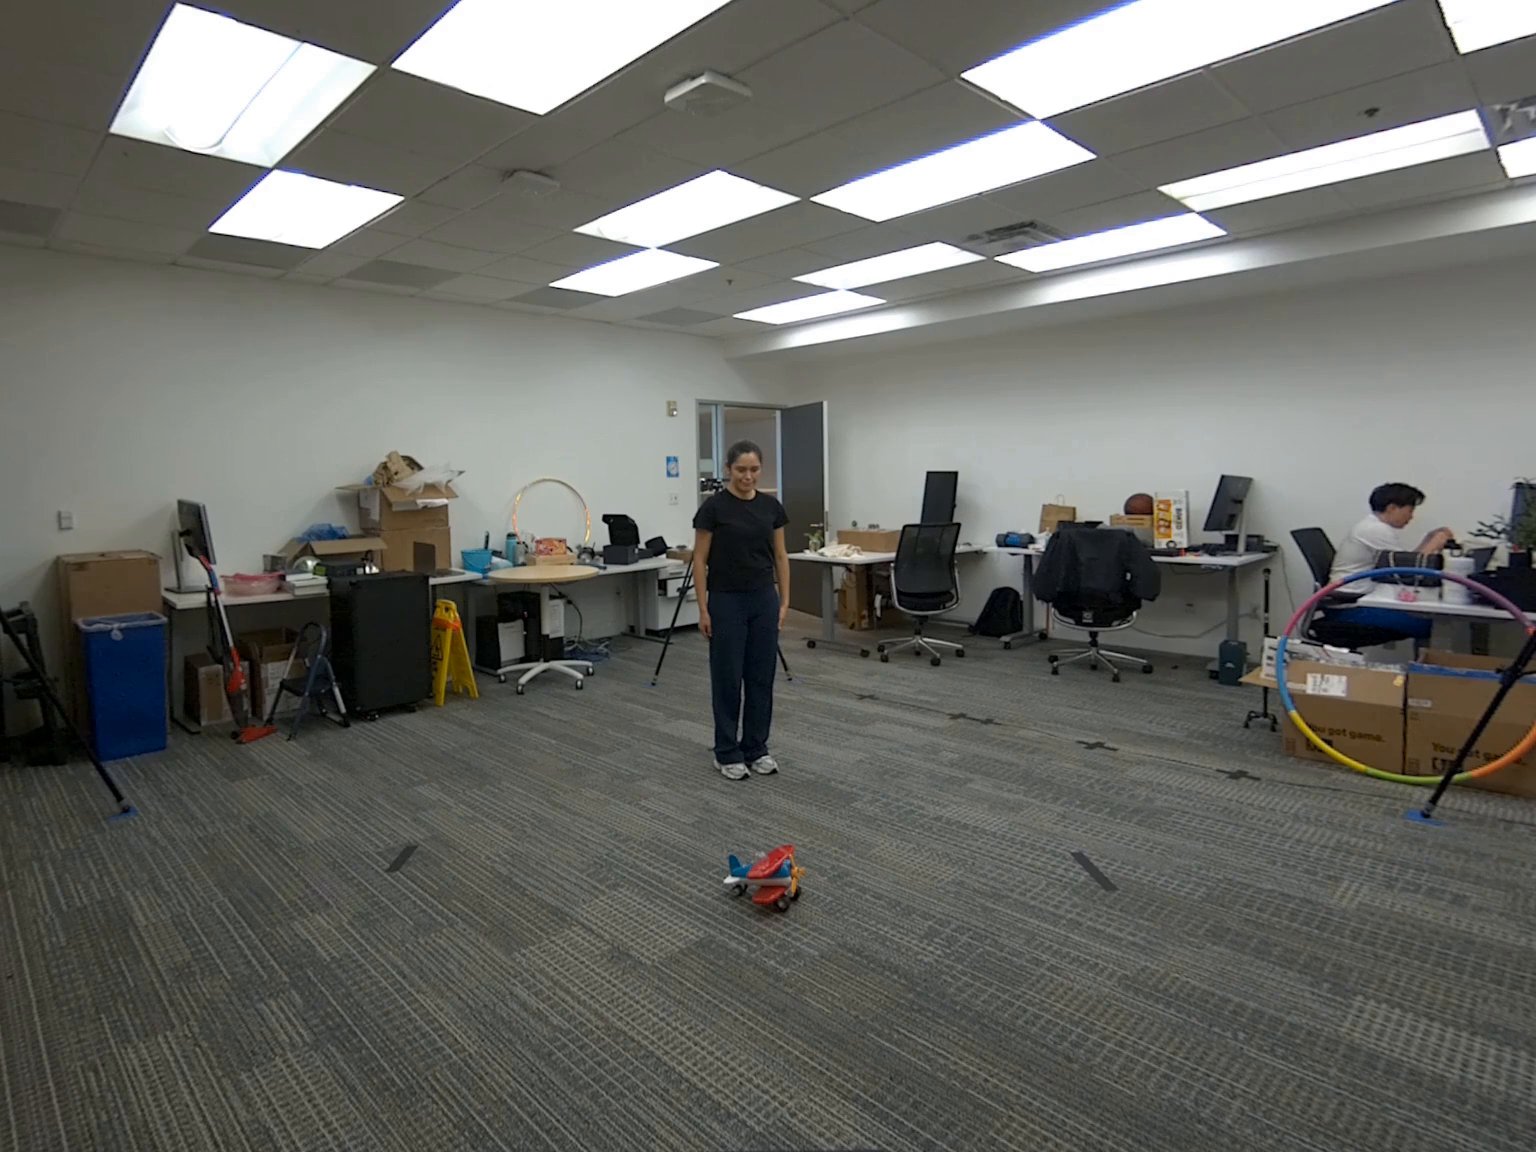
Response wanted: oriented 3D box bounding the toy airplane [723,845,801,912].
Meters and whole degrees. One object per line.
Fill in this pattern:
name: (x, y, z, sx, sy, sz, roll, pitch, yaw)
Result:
toy airplane: (-0.020, 1.005, 2.830, 0.259, 0.156, 0.252, 1, 6, 0)
